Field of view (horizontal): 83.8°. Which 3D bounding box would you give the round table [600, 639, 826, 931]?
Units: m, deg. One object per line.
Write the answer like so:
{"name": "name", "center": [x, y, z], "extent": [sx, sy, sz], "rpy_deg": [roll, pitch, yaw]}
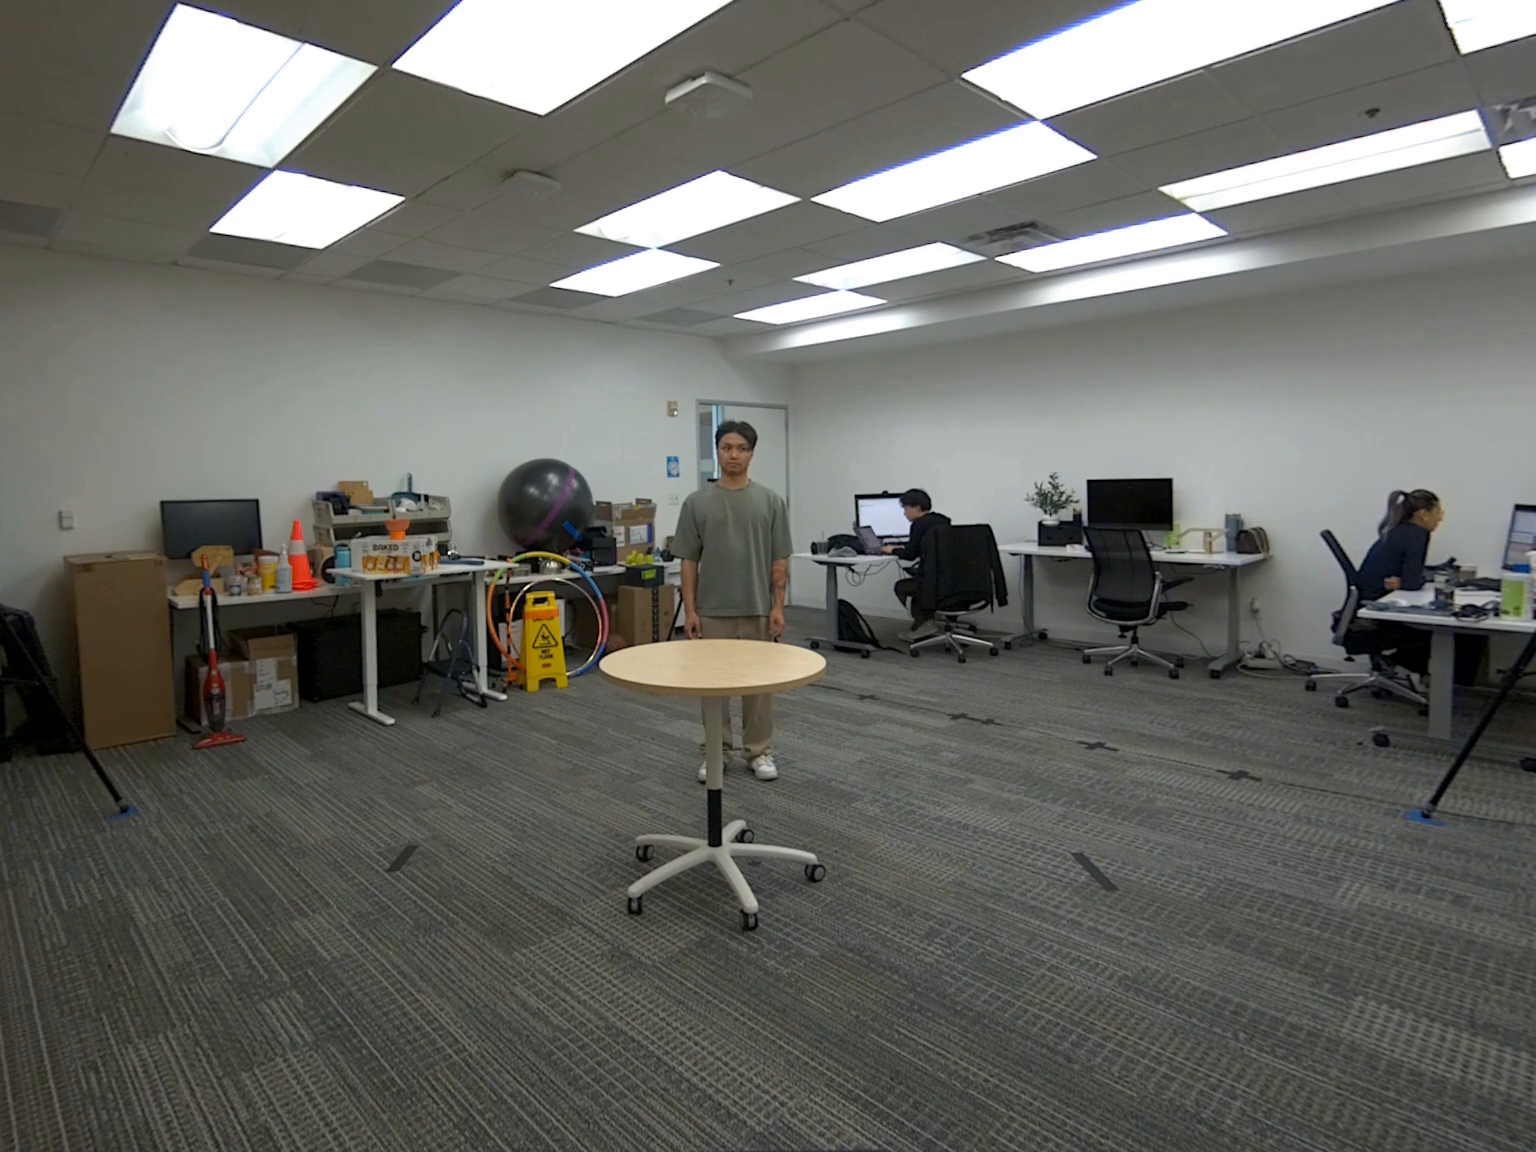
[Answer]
{"name": "round table", "center": [-0.198, 0.679, 2.925], "extent": [0.784, 0.784, 0.789], "rpy_deg": [-1, 5, -2]}
